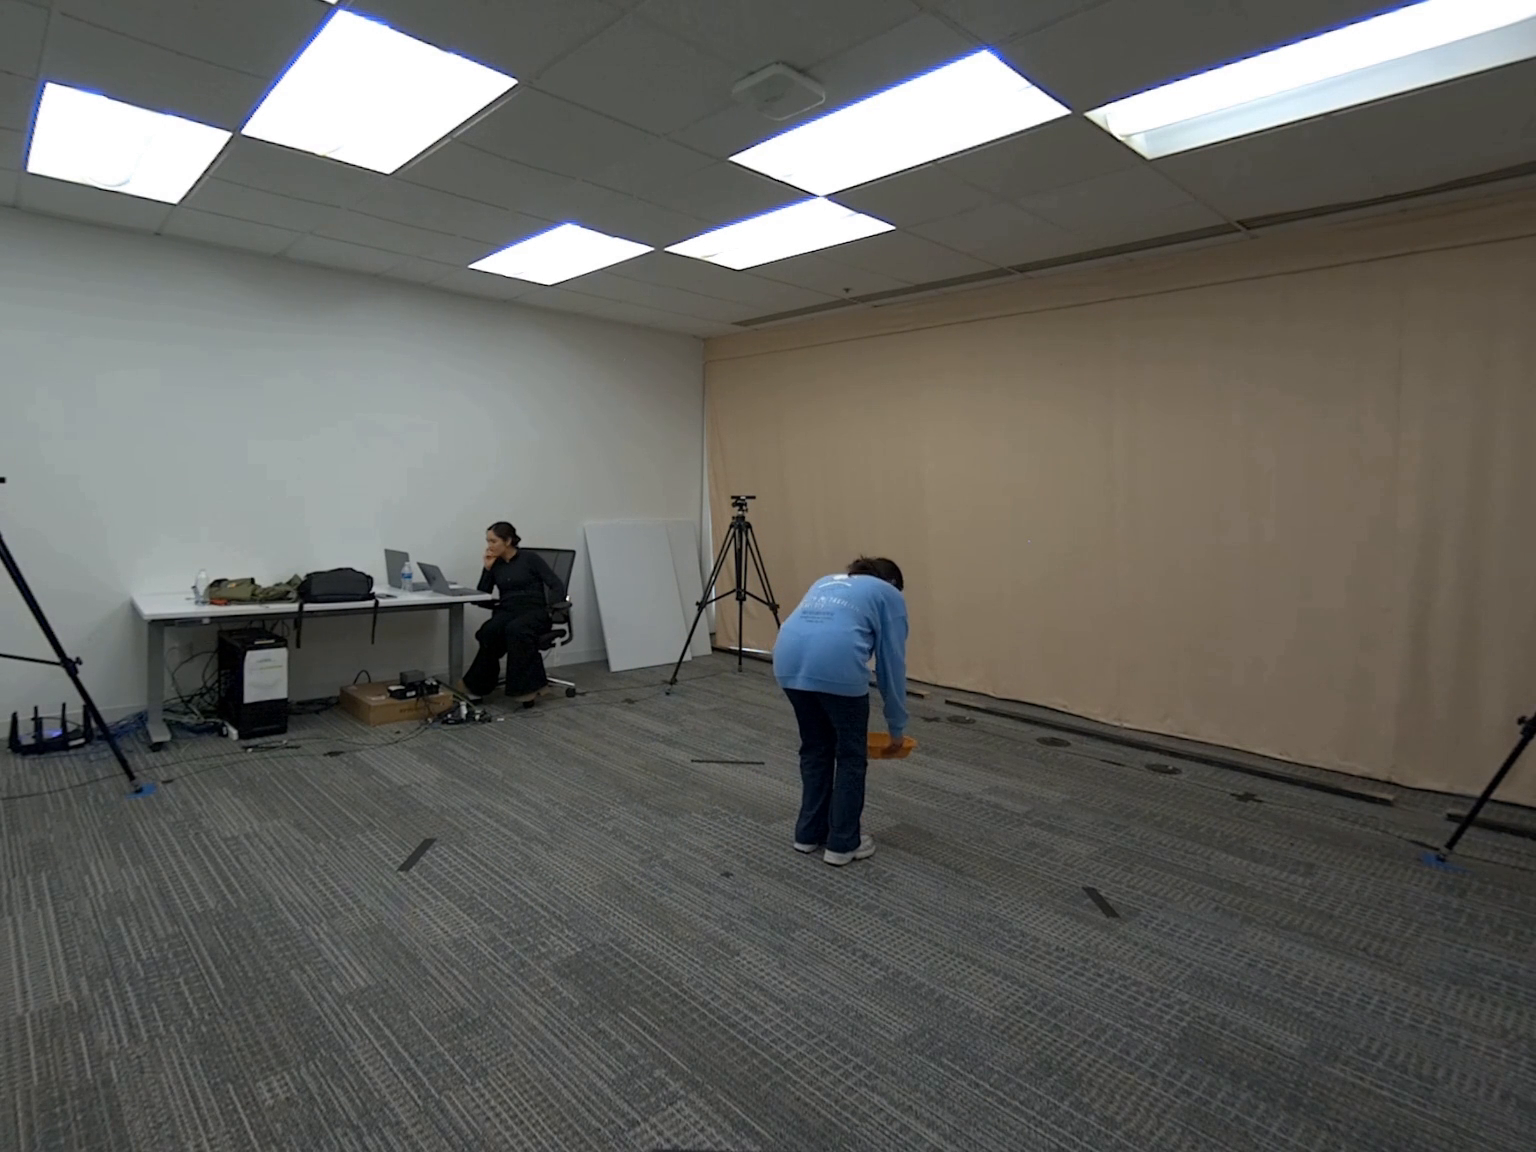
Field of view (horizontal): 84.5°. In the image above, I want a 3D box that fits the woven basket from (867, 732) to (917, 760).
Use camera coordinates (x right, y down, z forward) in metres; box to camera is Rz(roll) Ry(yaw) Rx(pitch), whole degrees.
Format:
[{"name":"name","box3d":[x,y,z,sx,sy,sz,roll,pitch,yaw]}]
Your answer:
[{"name":"woven basket","box3d":[0.462,0.736,3.630,0.345,0.073,0.257,3,3,-21]}]
